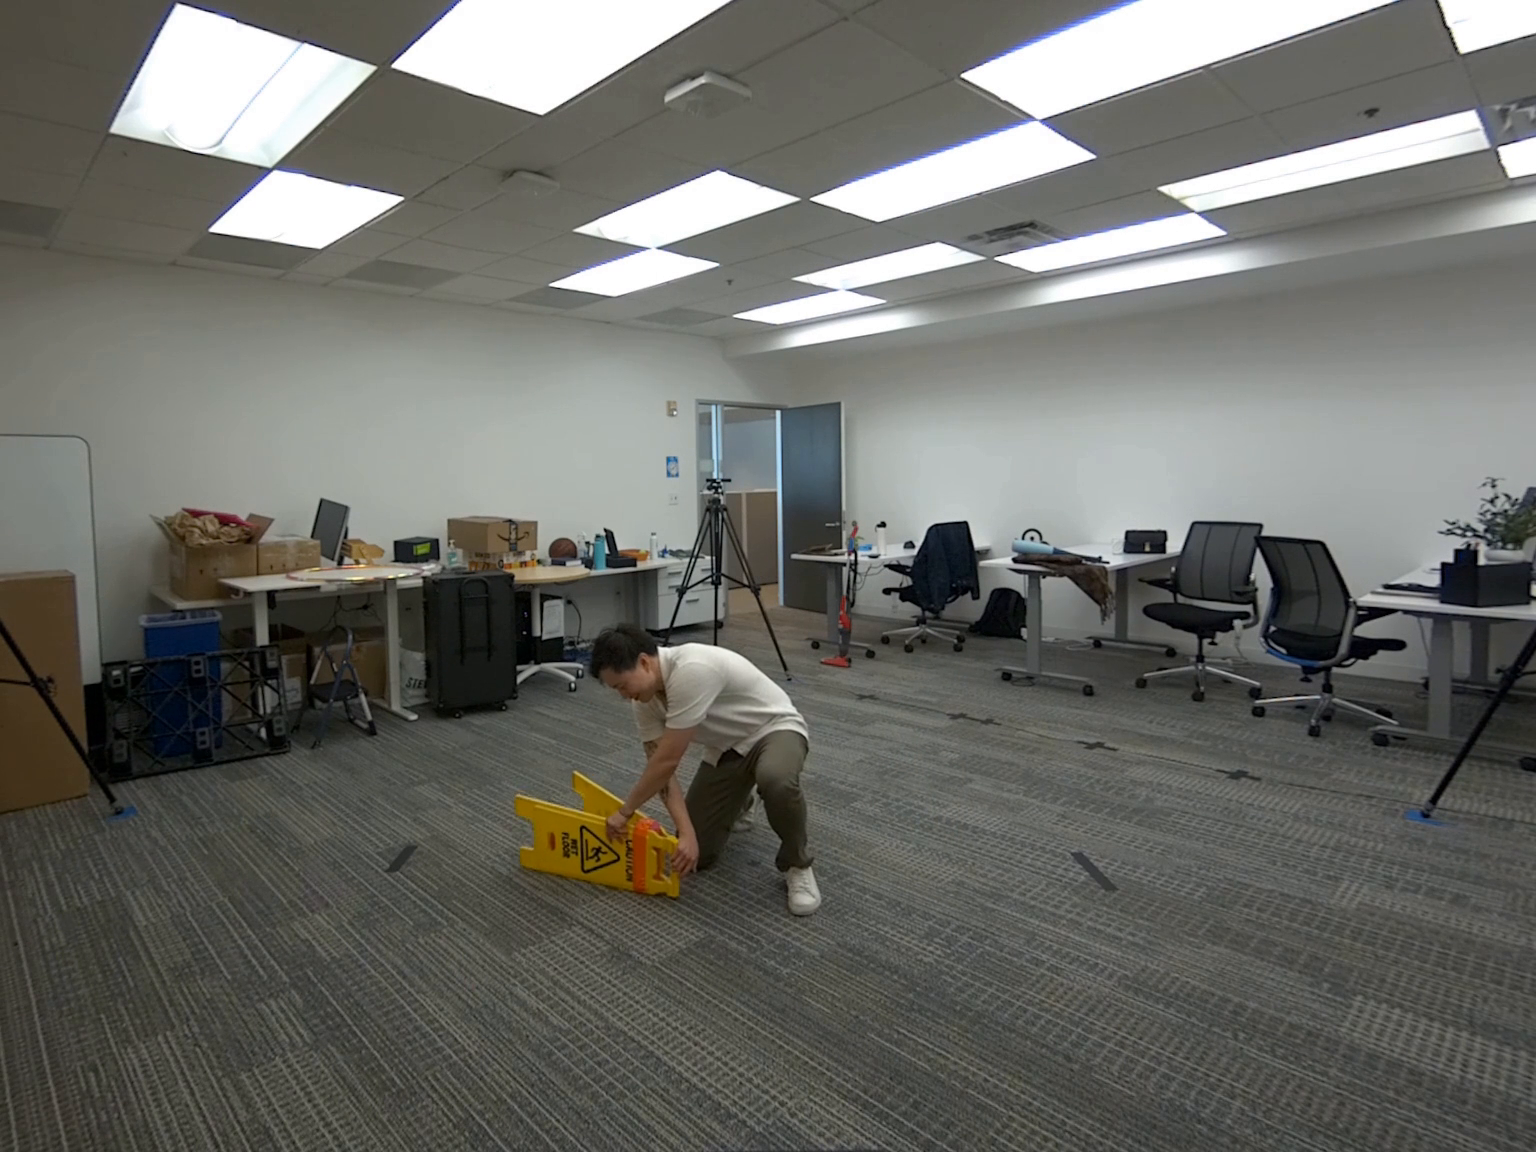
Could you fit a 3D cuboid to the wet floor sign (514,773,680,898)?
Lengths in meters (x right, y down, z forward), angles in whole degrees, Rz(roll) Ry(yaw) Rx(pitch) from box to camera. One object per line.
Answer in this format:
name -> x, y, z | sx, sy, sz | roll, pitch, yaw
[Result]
wet floor sign -> -0.560, 0.936, 3.021 | 0.665, 0.280, 0.283 | 6, 11, 35
